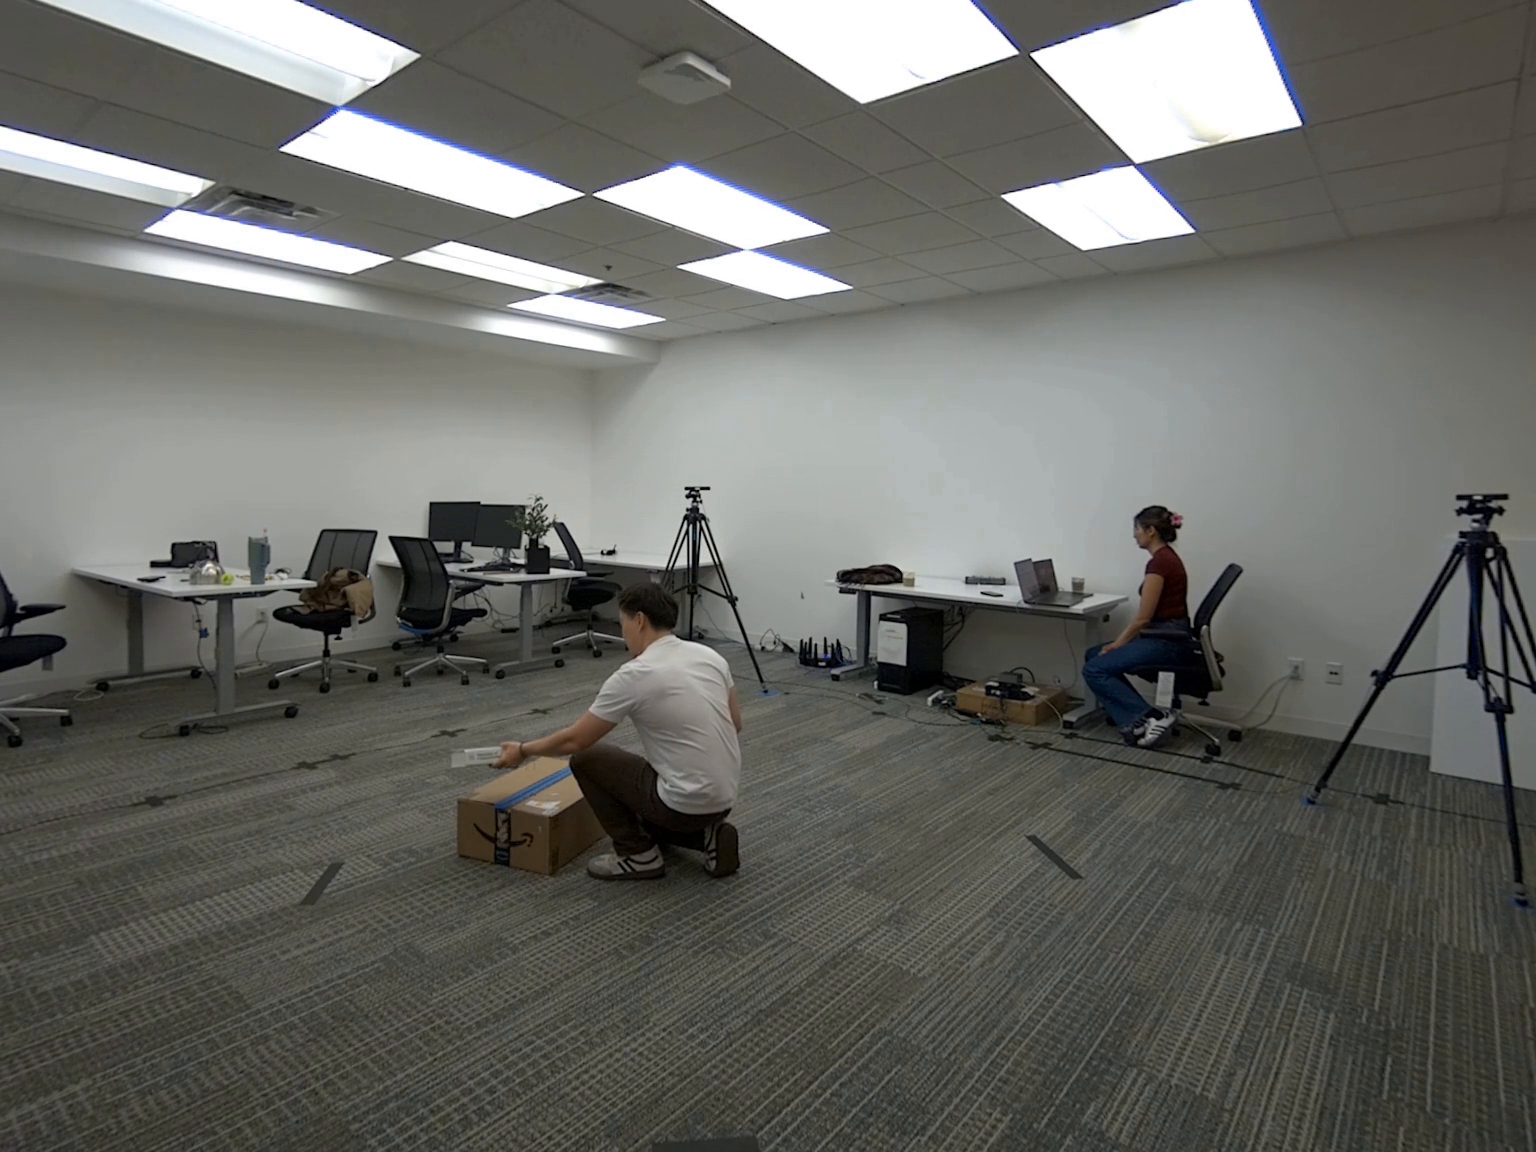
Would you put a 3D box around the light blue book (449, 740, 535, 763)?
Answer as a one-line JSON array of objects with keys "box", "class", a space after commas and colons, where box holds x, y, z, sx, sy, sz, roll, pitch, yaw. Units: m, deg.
[{"box": [-1.039, 0.655, 3.154, 0.253, 0.060, 0.195, 2, -11, -35], "class": "light blue book"}]
